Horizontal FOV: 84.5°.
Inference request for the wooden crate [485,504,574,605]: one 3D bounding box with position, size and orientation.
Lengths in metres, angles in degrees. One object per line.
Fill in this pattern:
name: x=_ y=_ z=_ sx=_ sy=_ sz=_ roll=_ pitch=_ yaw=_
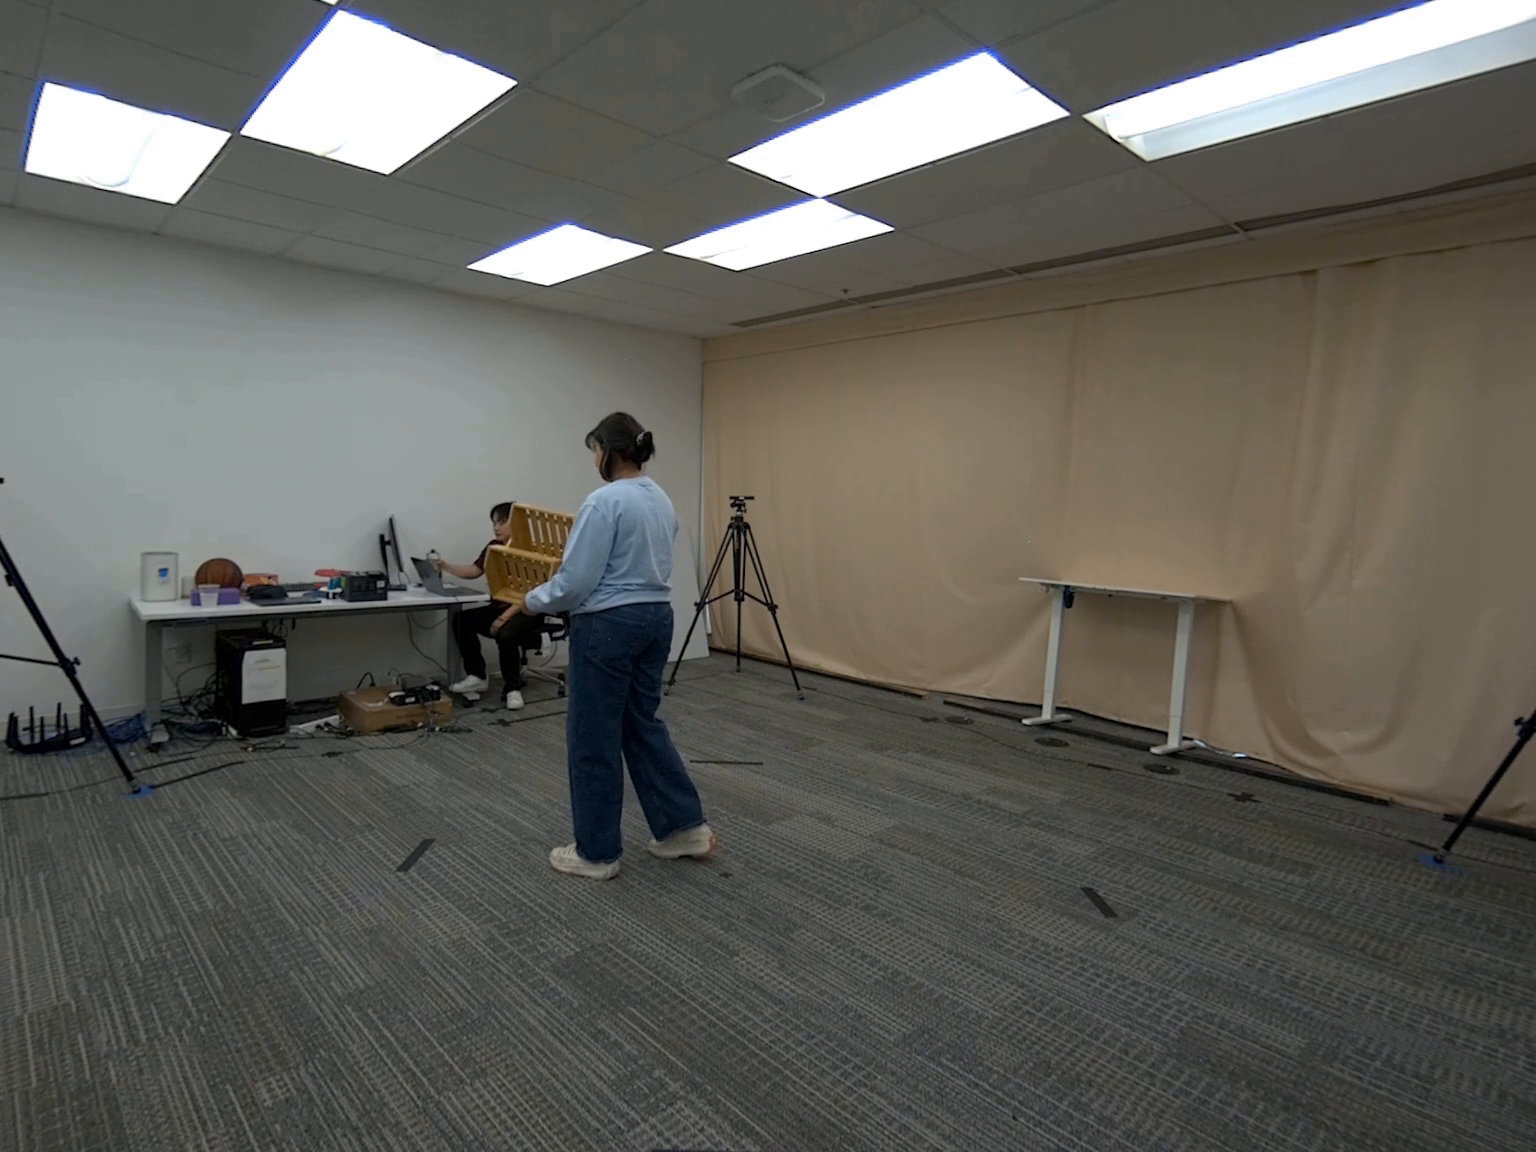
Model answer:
wooden crate: x=-0.870 y=-0.072 z=3.162 sx=0.330 sy=0.296 sz=0.274 roll=12 pitch=34 yaw=19
